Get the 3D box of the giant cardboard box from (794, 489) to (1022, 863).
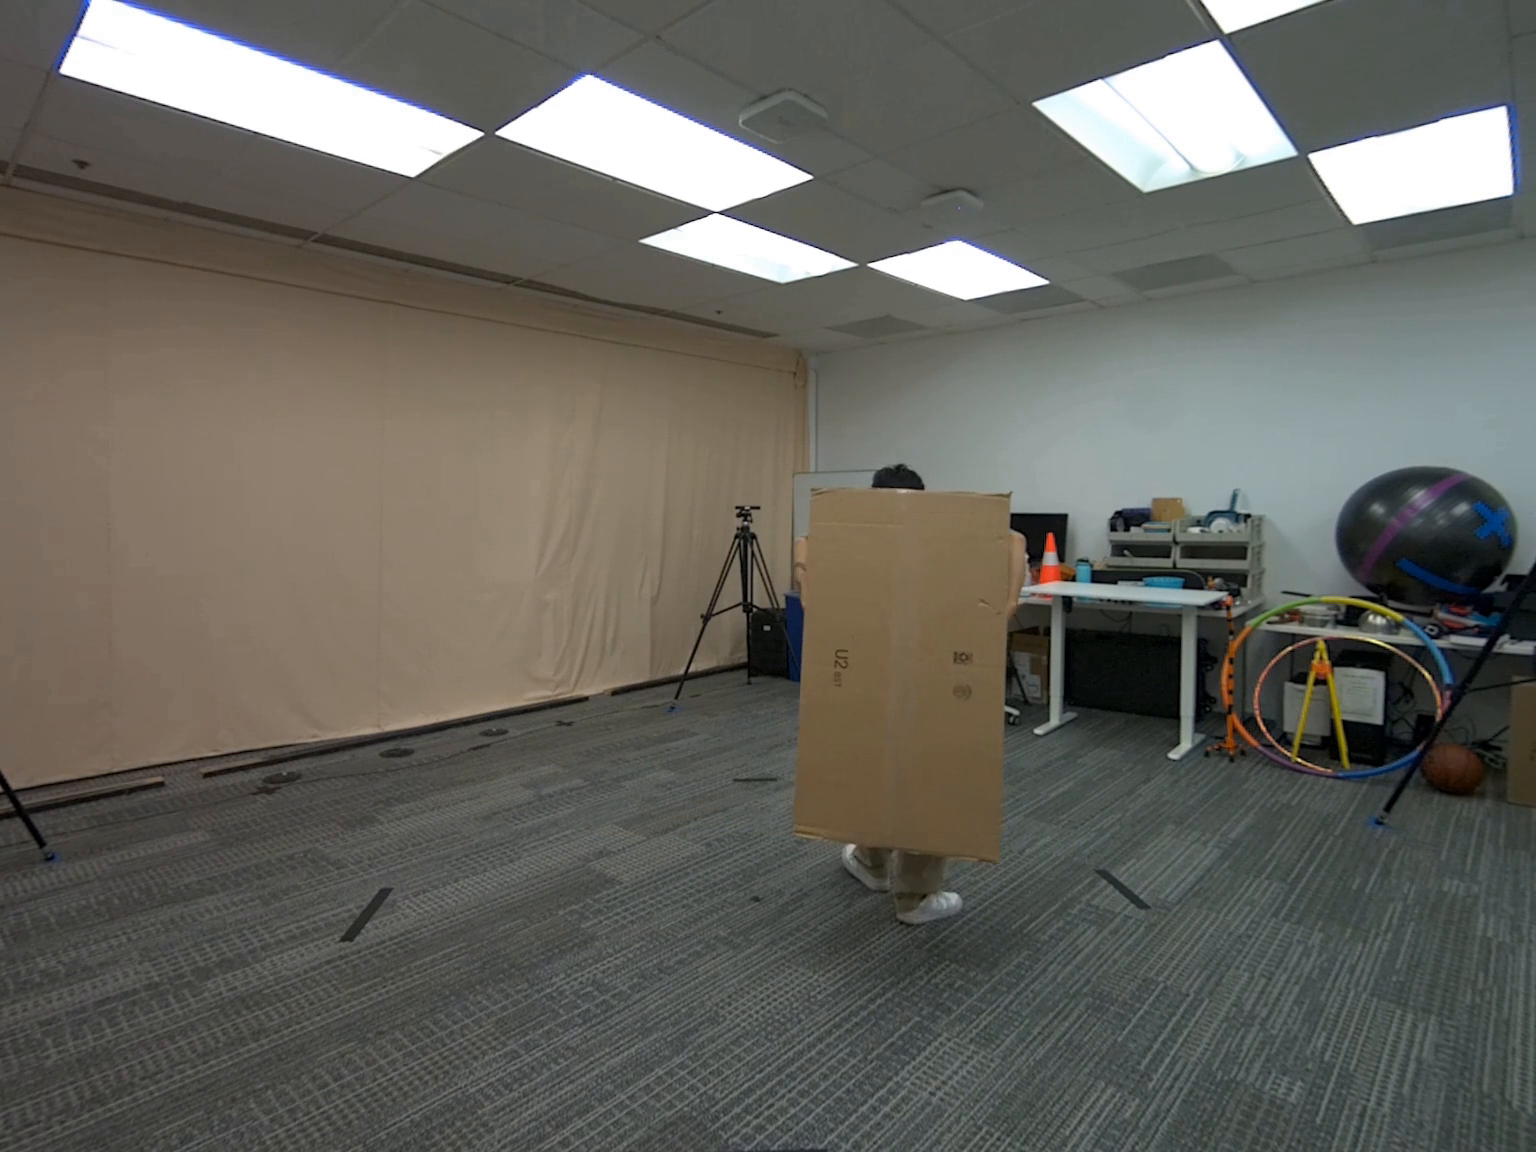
[{"bbox_3d":[0.417,0.274,2.606,0.587,1.028,0.418,2,-4,14],"label":"giant cardboard box"}]
